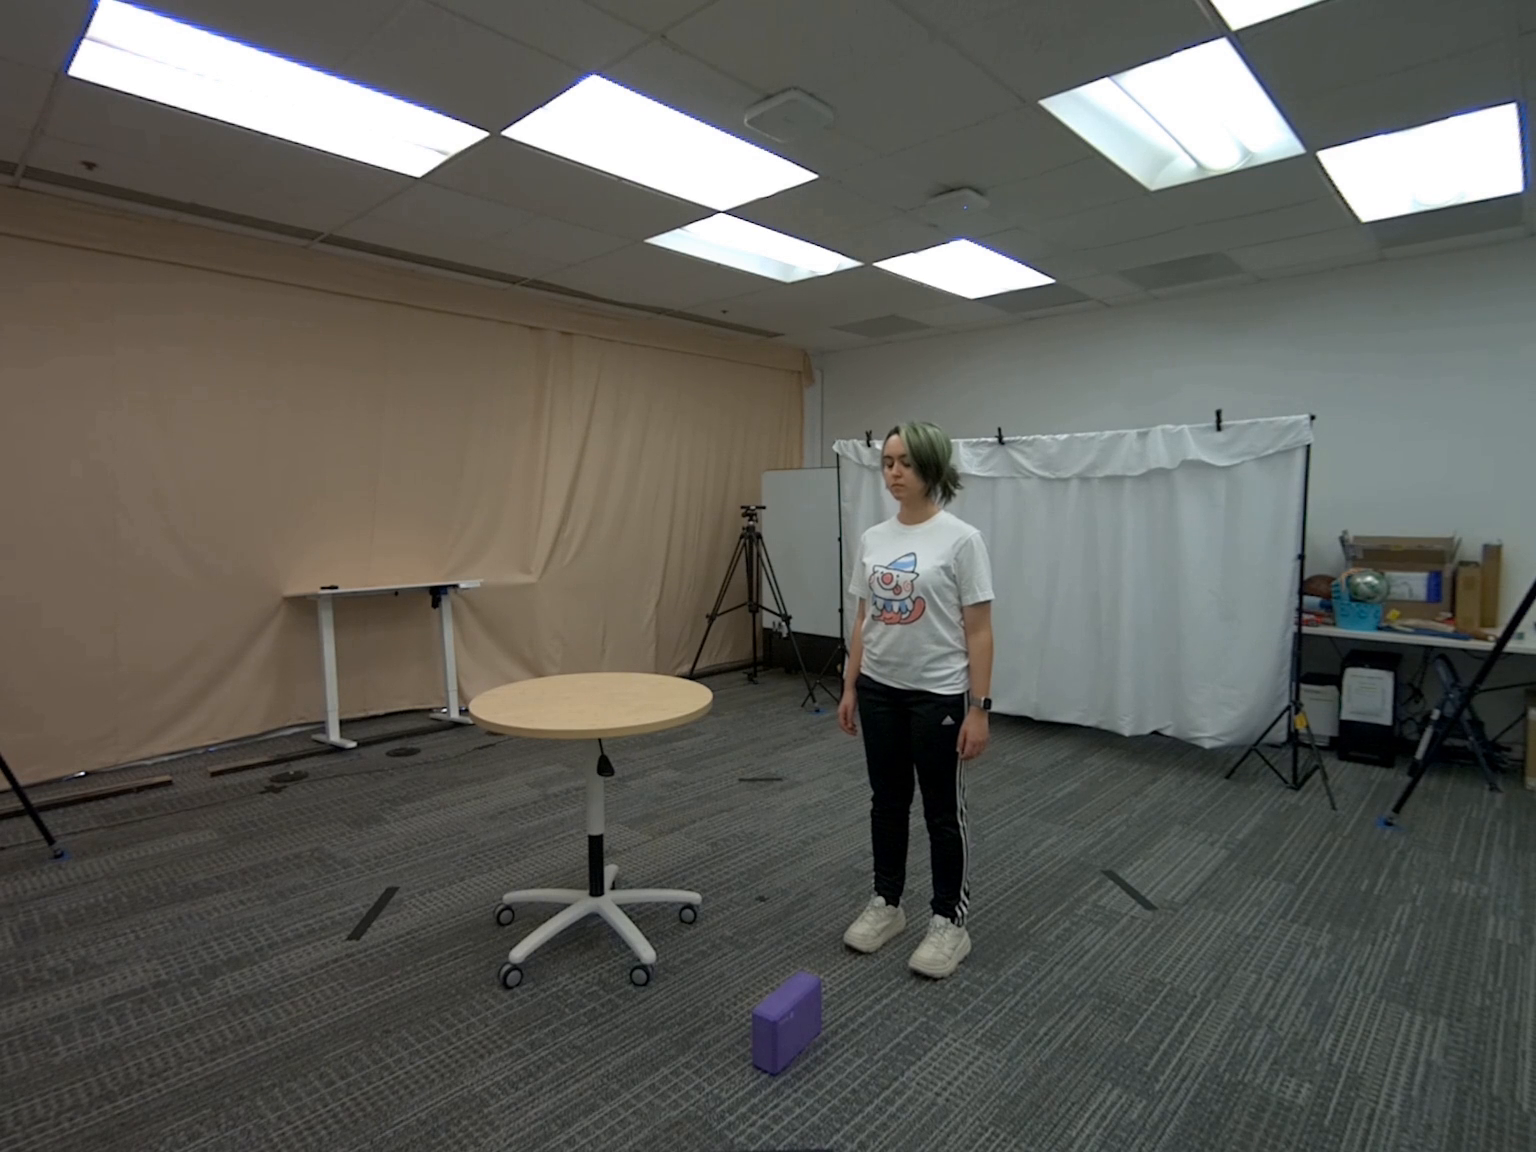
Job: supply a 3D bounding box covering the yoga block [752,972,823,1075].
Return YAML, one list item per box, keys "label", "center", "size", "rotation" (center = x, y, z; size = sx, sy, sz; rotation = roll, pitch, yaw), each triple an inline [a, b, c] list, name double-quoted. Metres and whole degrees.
- label: "yoga block"
  center: [0.055, 1.140, 2.148]
  size: [0.079, 0.148, 0.223]
  rotation: [2, 6, 36]
